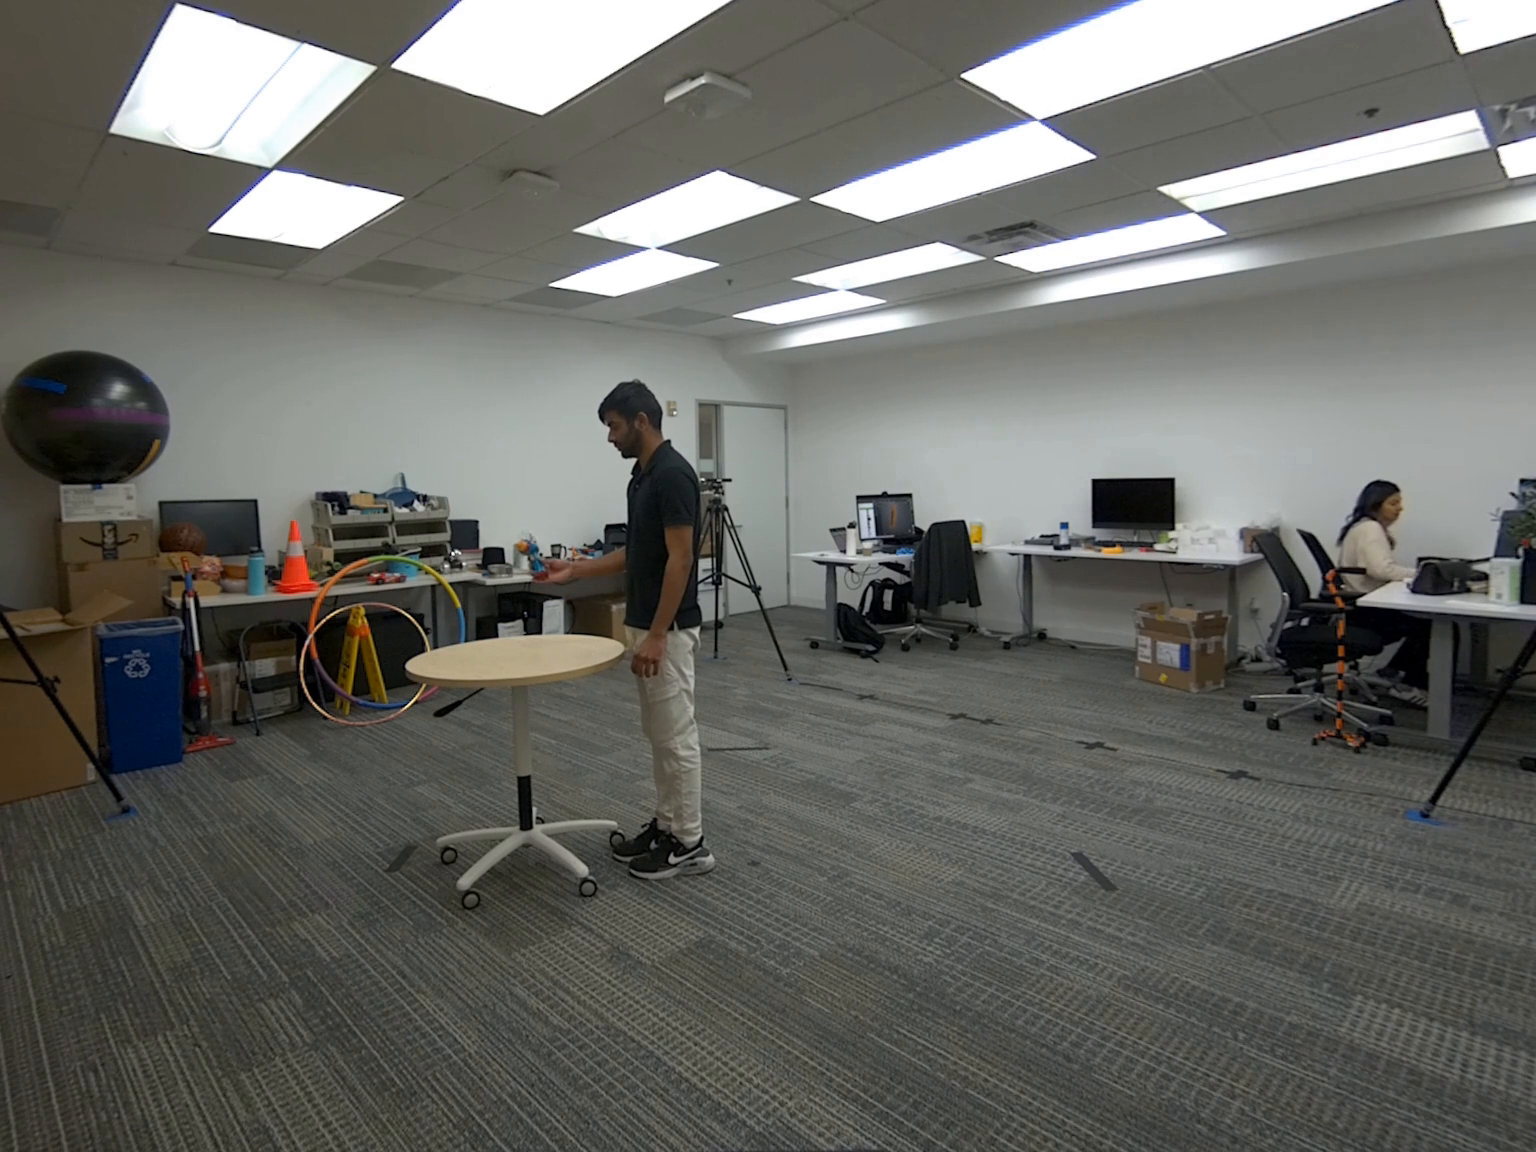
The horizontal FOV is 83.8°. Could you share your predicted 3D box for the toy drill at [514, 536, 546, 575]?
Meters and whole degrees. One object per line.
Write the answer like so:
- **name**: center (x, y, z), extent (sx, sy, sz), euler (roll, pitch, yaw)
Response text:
- **toy drill**: center (-0.875, -0.070, 3.142), extent (0.061, 0.149, 0.166), euler (-26, -14, 7)
